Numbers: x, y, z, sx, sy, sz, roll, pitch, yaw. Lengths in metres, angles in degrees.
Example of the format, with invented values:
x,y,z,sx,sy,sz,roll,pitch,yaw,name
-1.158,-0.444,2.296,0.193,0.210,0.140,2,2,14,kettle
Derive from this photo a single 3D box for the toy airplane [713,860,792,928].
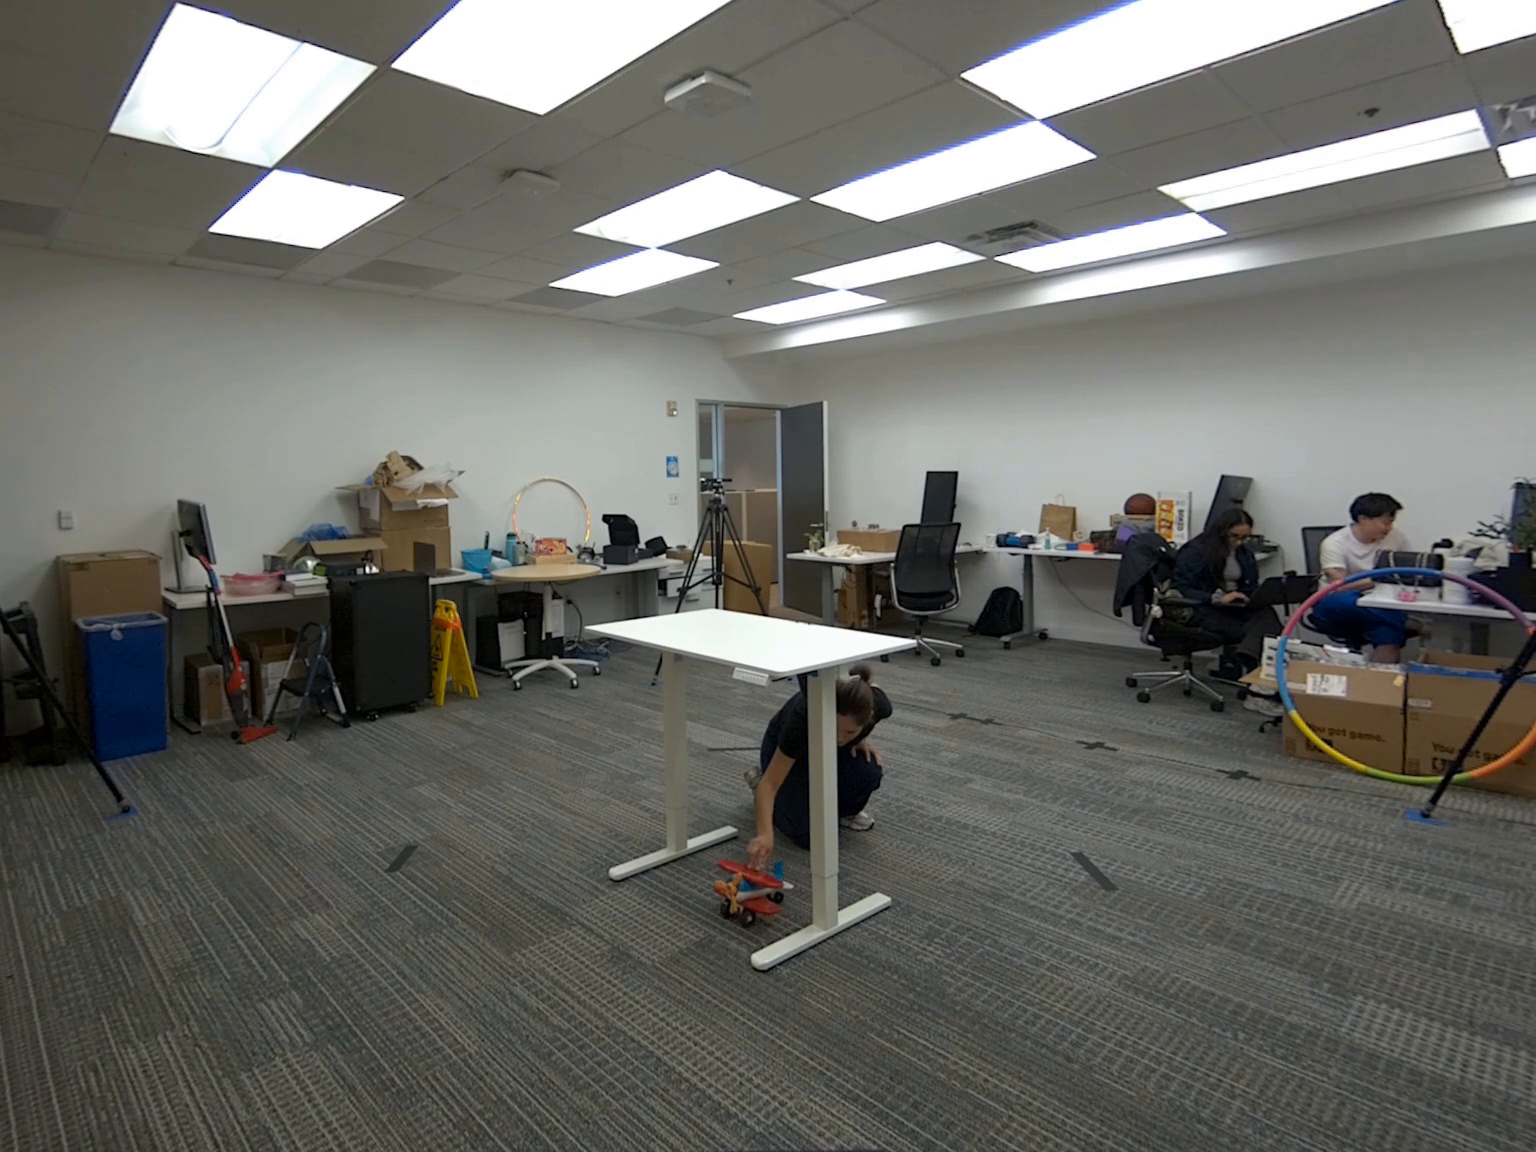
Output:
x,y,z,sx,sy,sz,roll,pitch,yaw,name
-0.052,1.009,2.780,0.255,0.155,0.257,0,7,14,toy airplane
